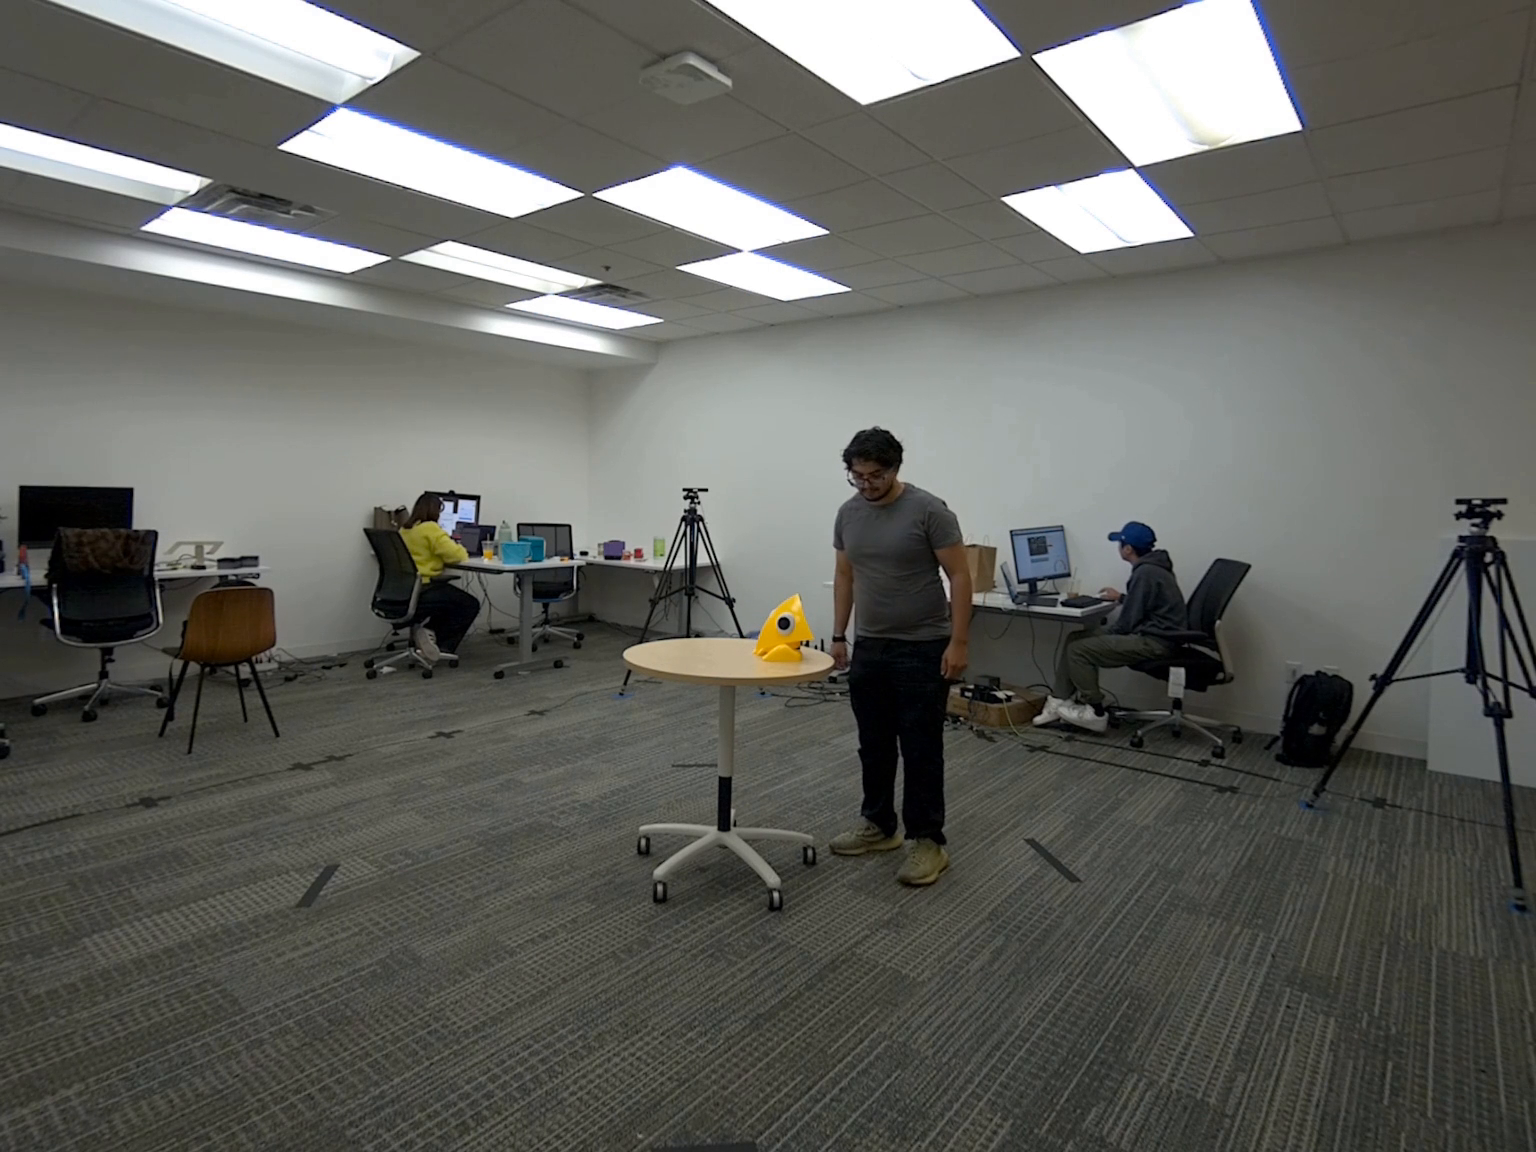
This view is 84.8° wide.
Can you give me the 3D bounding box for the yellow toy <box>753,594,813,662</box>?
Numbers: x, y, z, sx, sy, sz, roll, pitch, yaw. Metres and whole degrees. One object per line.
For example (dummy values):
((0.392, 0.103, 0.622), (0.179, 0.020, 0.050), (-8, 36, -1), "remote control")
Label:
((0.036, 0.177, 3.115), (0.190, 0.230, 0.209), (1, 3, -16), "yellow toy")
